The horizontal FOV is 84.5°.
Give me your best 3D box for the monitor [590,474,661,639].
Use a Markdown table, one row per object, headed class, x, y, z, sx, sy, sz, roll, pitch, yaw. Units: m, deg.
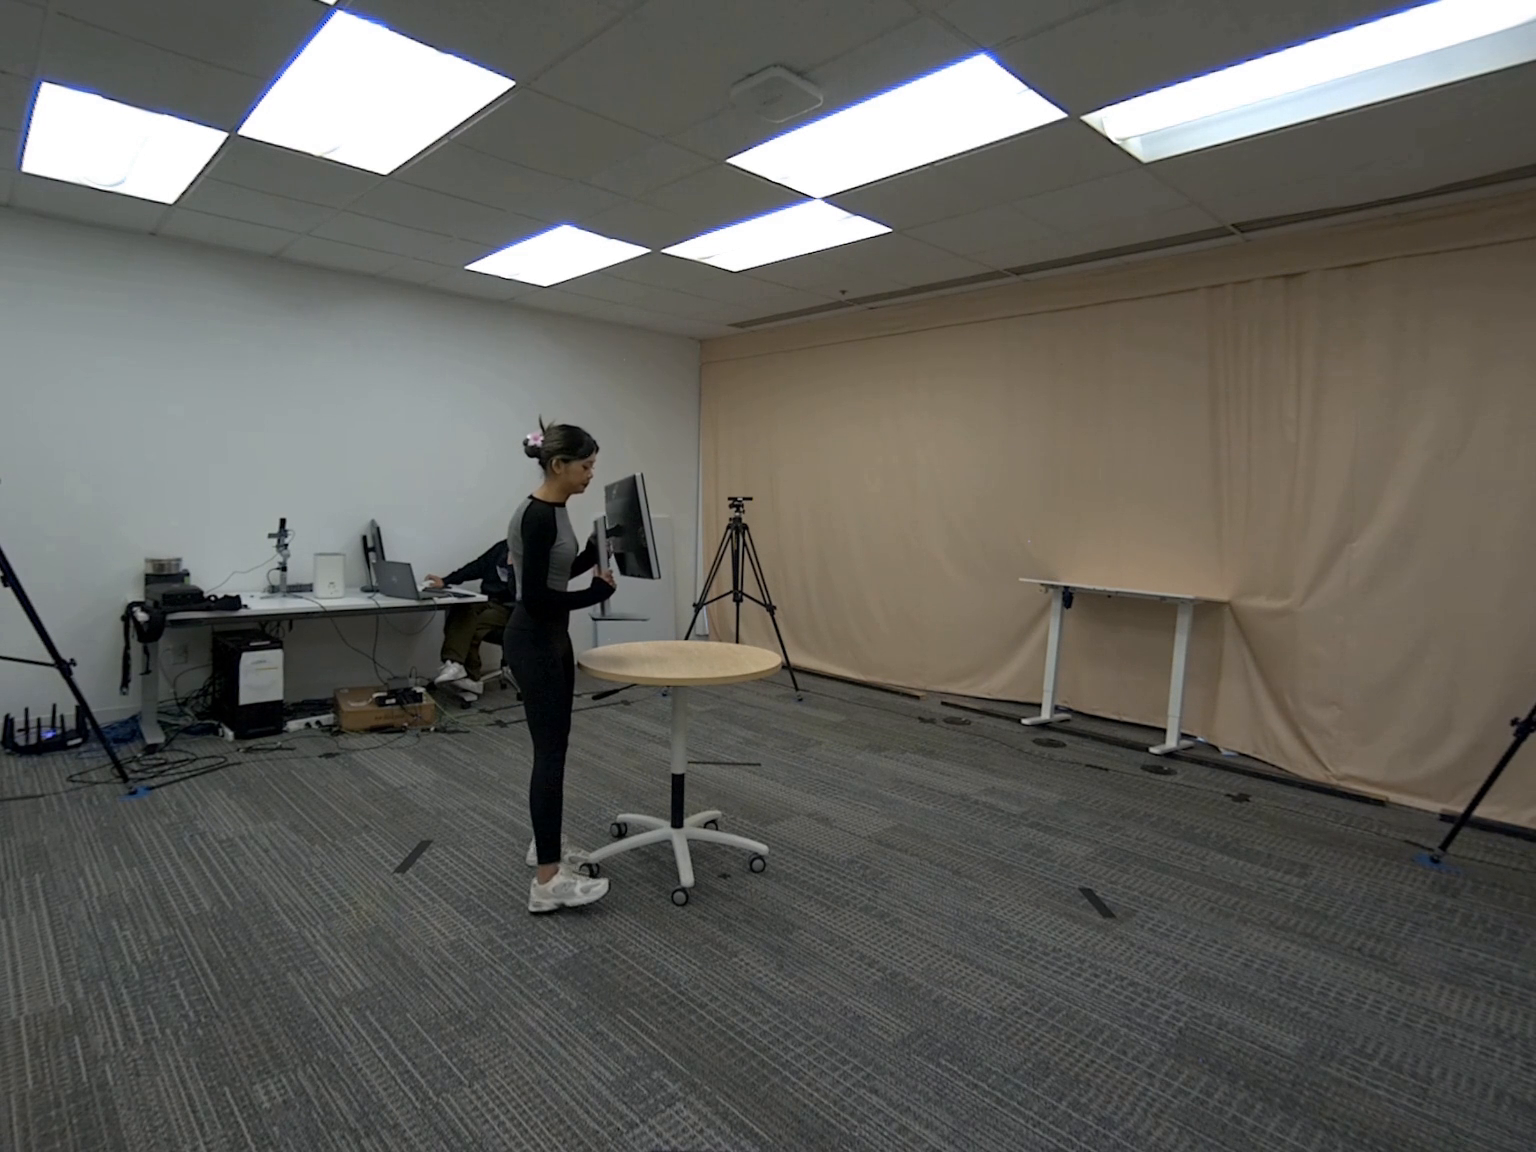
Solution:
| class | x | y | z | sx | sy | sz | roll | pitch | yaw |
| --- | --- | --- | --- | --- | --- | --- | --- | --- | --- |
| monitor | -0.548 | -0.090 | 3.060 | 0.184 | 0.523 | 0.548 | 3 | -1 | -24 |
